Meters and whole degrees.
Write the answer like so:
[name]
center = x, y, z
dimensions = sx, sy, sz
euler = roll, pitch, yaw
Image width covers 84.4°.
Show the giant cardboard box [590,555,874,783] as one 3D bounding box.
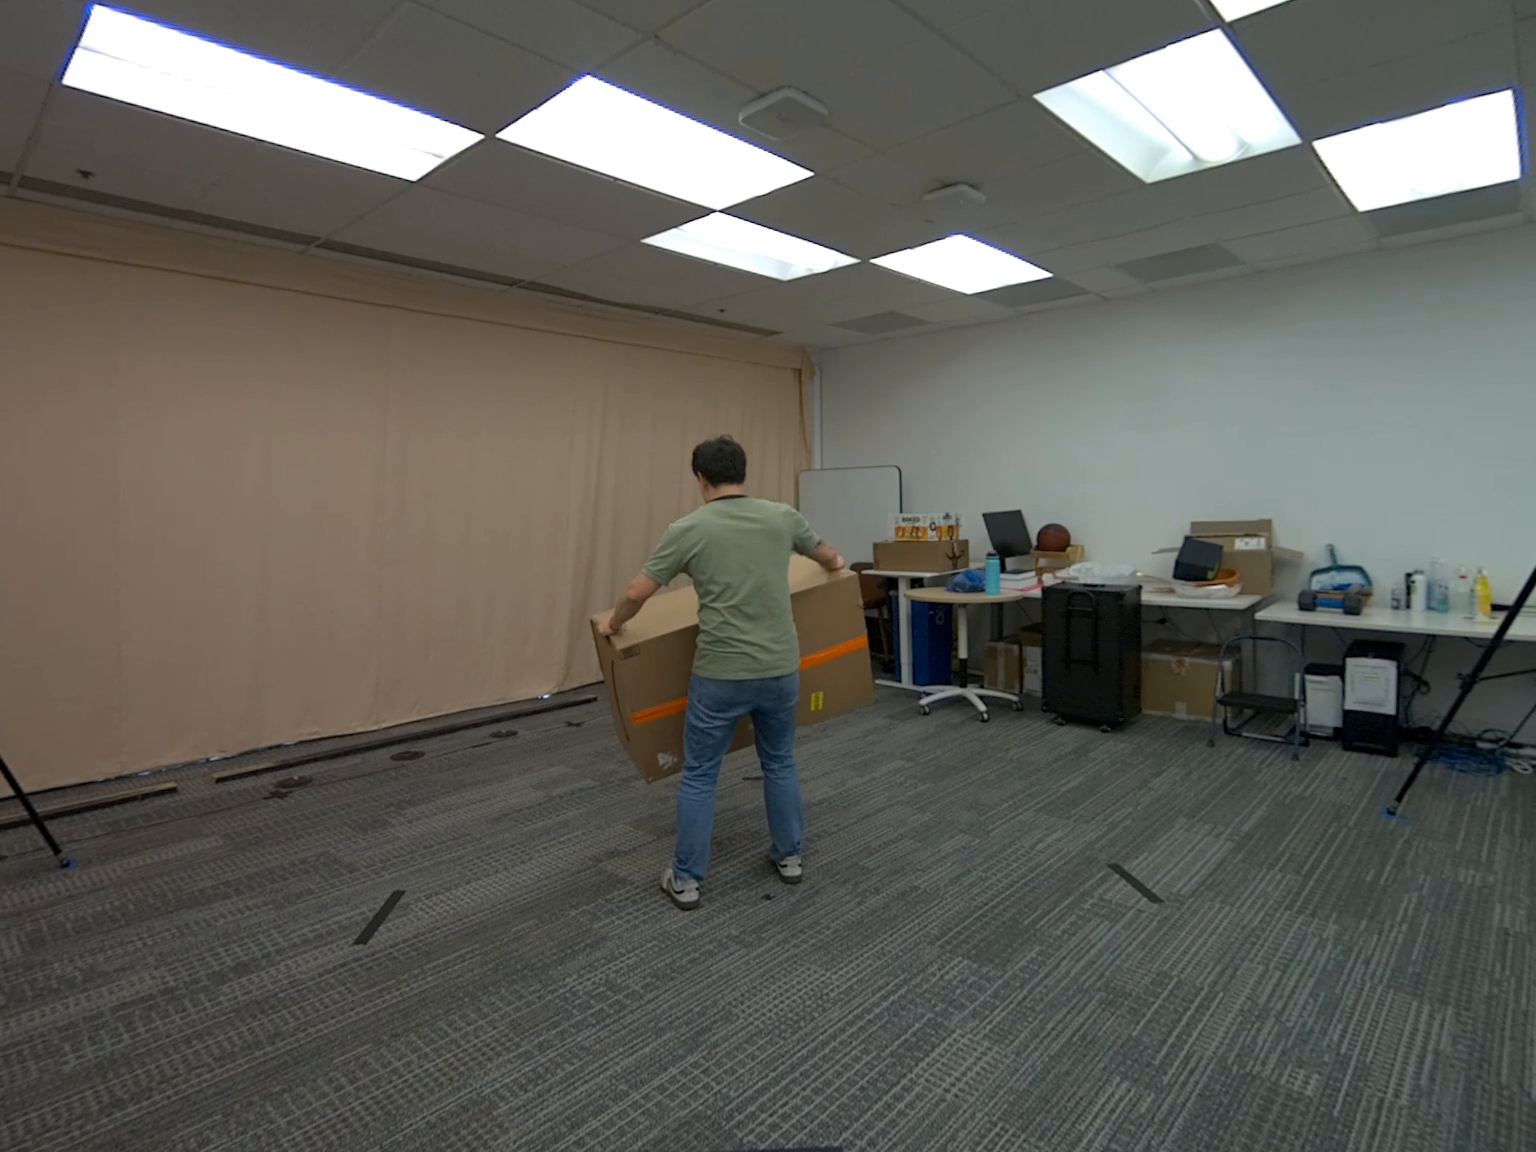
[giant cardboard box]
center = -0.151, 0.335, 3.480
dimensions = 1.010, 0.569, 0.439
euler = -17, 20, -19
